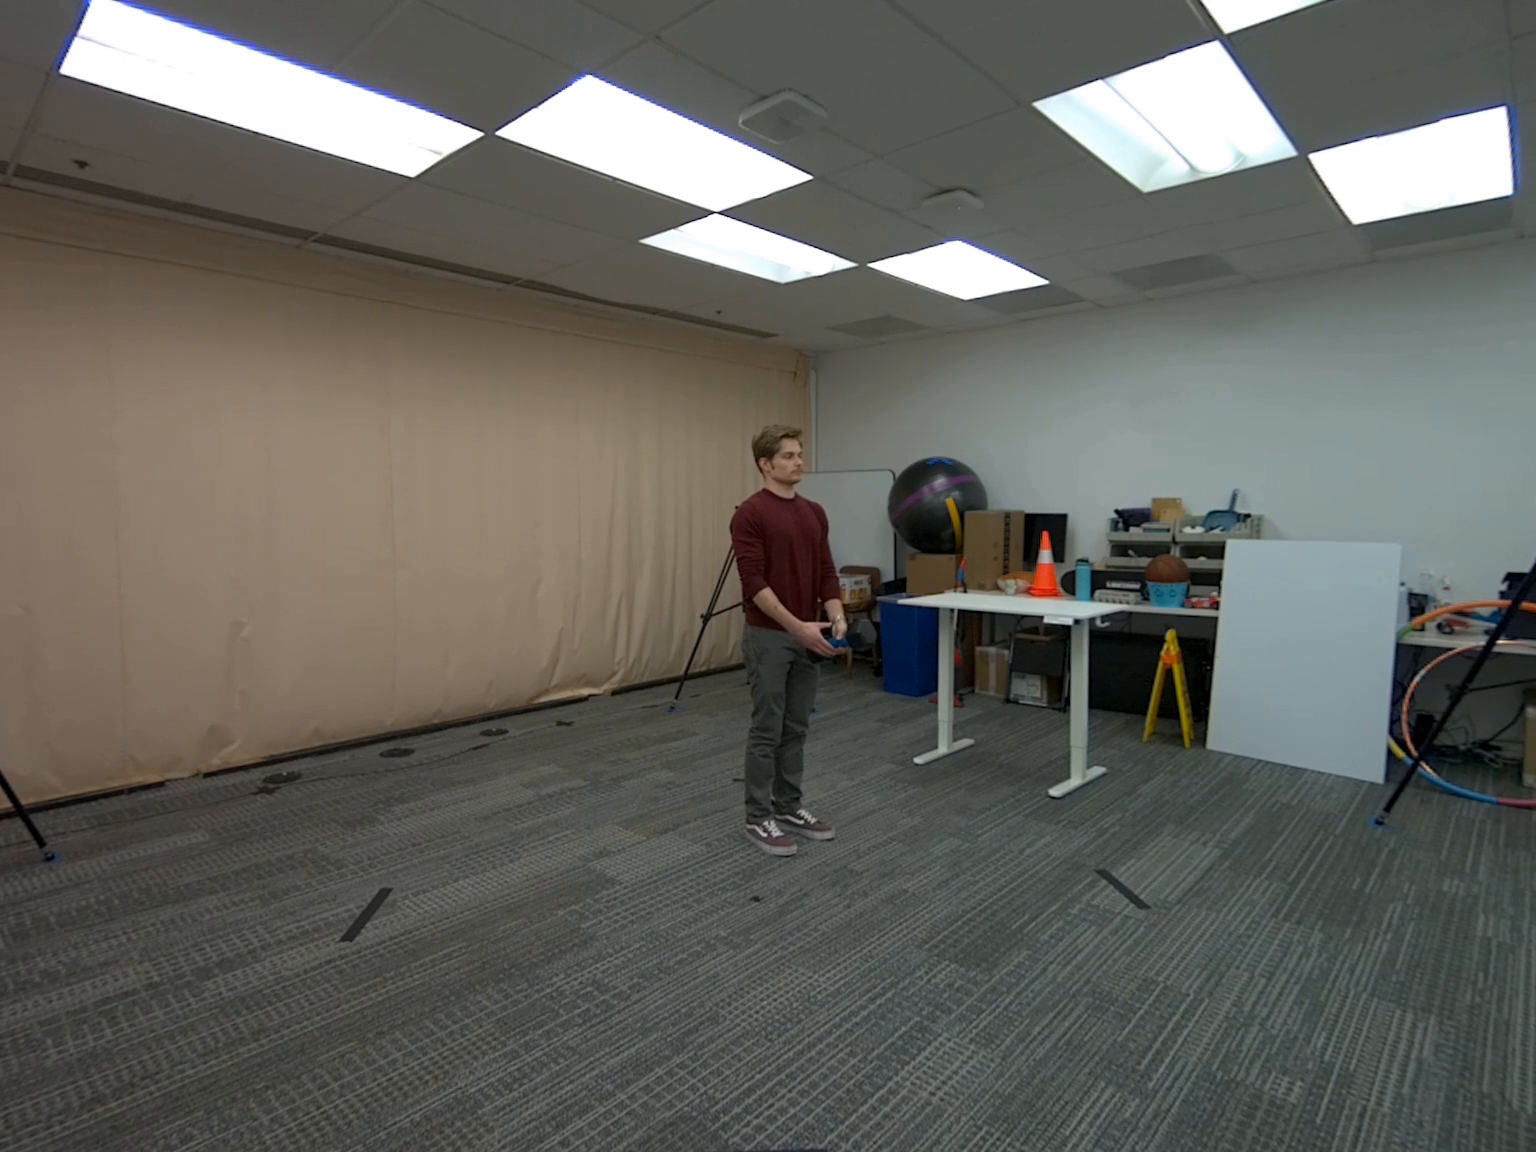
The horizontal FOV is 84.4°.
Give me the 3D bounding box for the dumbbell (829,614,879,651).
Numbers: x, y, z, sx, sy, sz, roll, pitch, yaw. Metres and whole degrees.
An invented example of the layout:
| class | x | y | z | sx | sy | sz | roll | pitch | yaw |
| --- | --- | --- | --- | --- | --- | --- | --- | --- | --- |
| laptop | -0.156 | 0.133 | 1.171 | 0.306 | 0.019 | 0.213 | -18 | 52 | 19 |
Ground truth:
| class | x | y | z | sx | sy | sz | roll | pitch | yaw |
| --- | --- | --- | --- | --- | --- | --- | --- | --- | --- |
| dumbbell | 0.290 | 0.266 | 3.343 | 0.300 | 0.122 | 0.107 | -24 | 7 | 42 |
